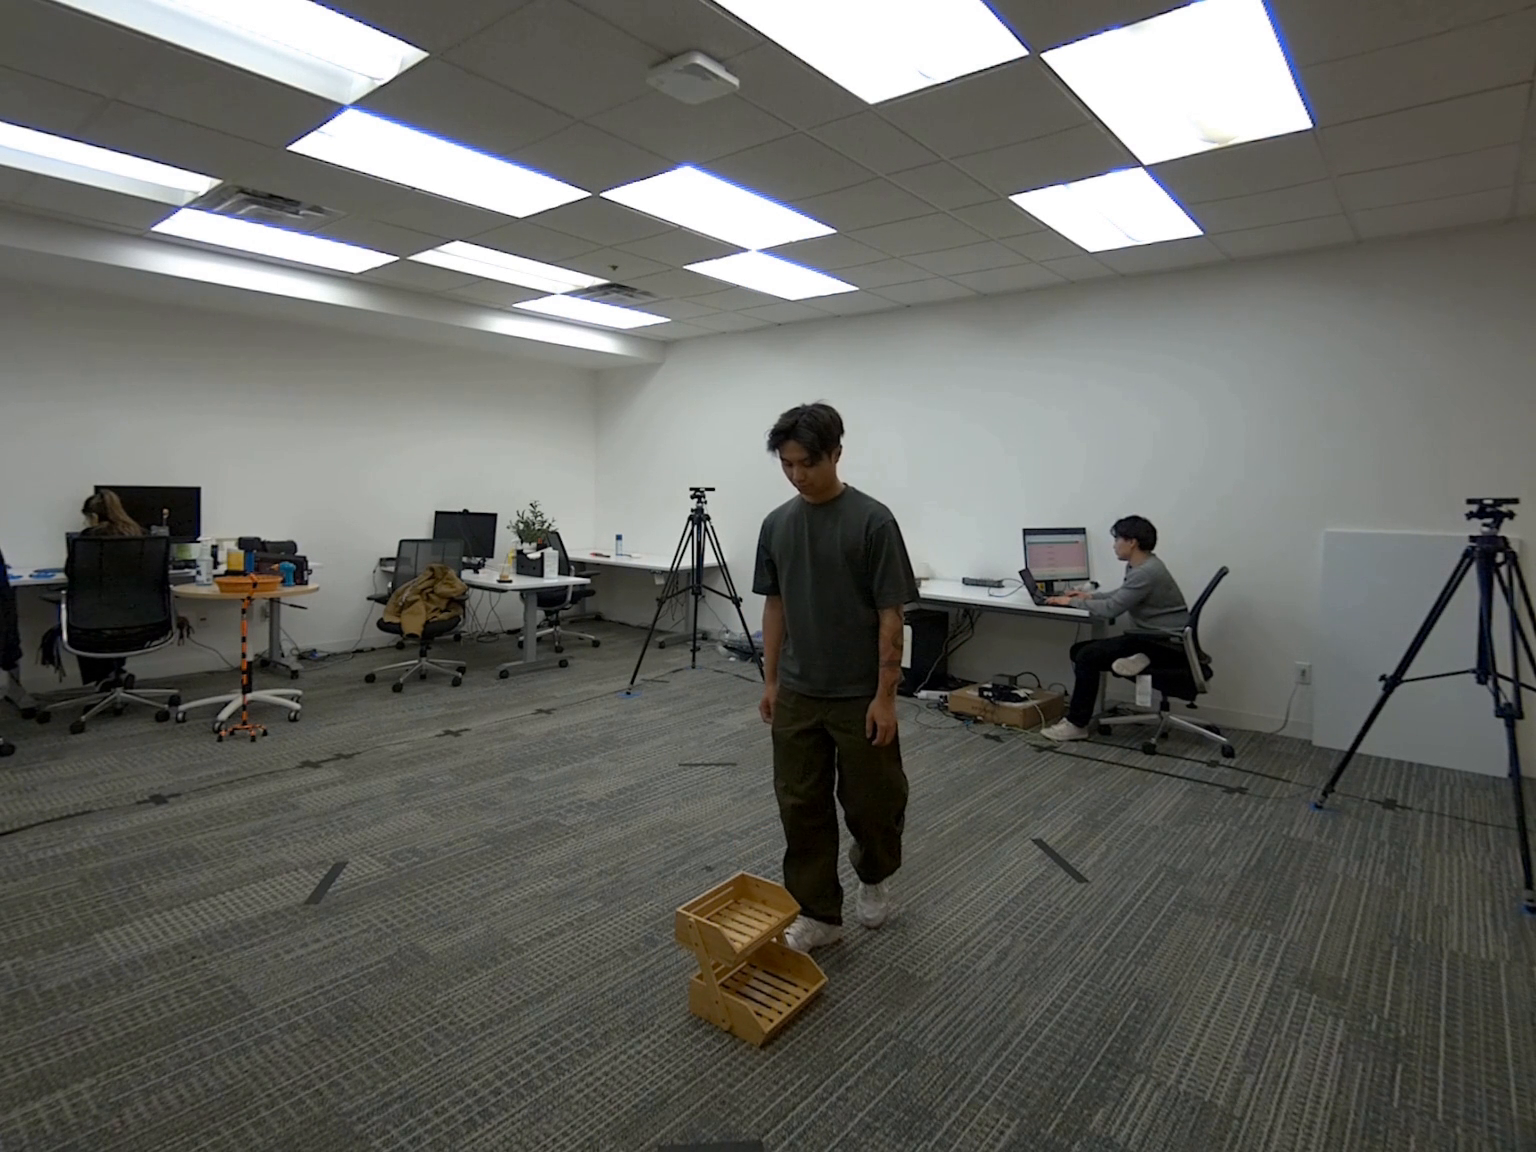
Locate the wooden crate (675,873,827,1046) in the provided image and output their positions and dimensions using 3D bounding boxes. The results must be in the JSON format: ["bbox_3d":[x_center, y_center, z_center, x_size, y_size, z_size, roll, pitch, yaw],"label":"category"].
[{"bbox_3d":[-0.047,1.017,2.305,0.312,0.272,0.315,4,5,36],"label":"wooden crate"}]
